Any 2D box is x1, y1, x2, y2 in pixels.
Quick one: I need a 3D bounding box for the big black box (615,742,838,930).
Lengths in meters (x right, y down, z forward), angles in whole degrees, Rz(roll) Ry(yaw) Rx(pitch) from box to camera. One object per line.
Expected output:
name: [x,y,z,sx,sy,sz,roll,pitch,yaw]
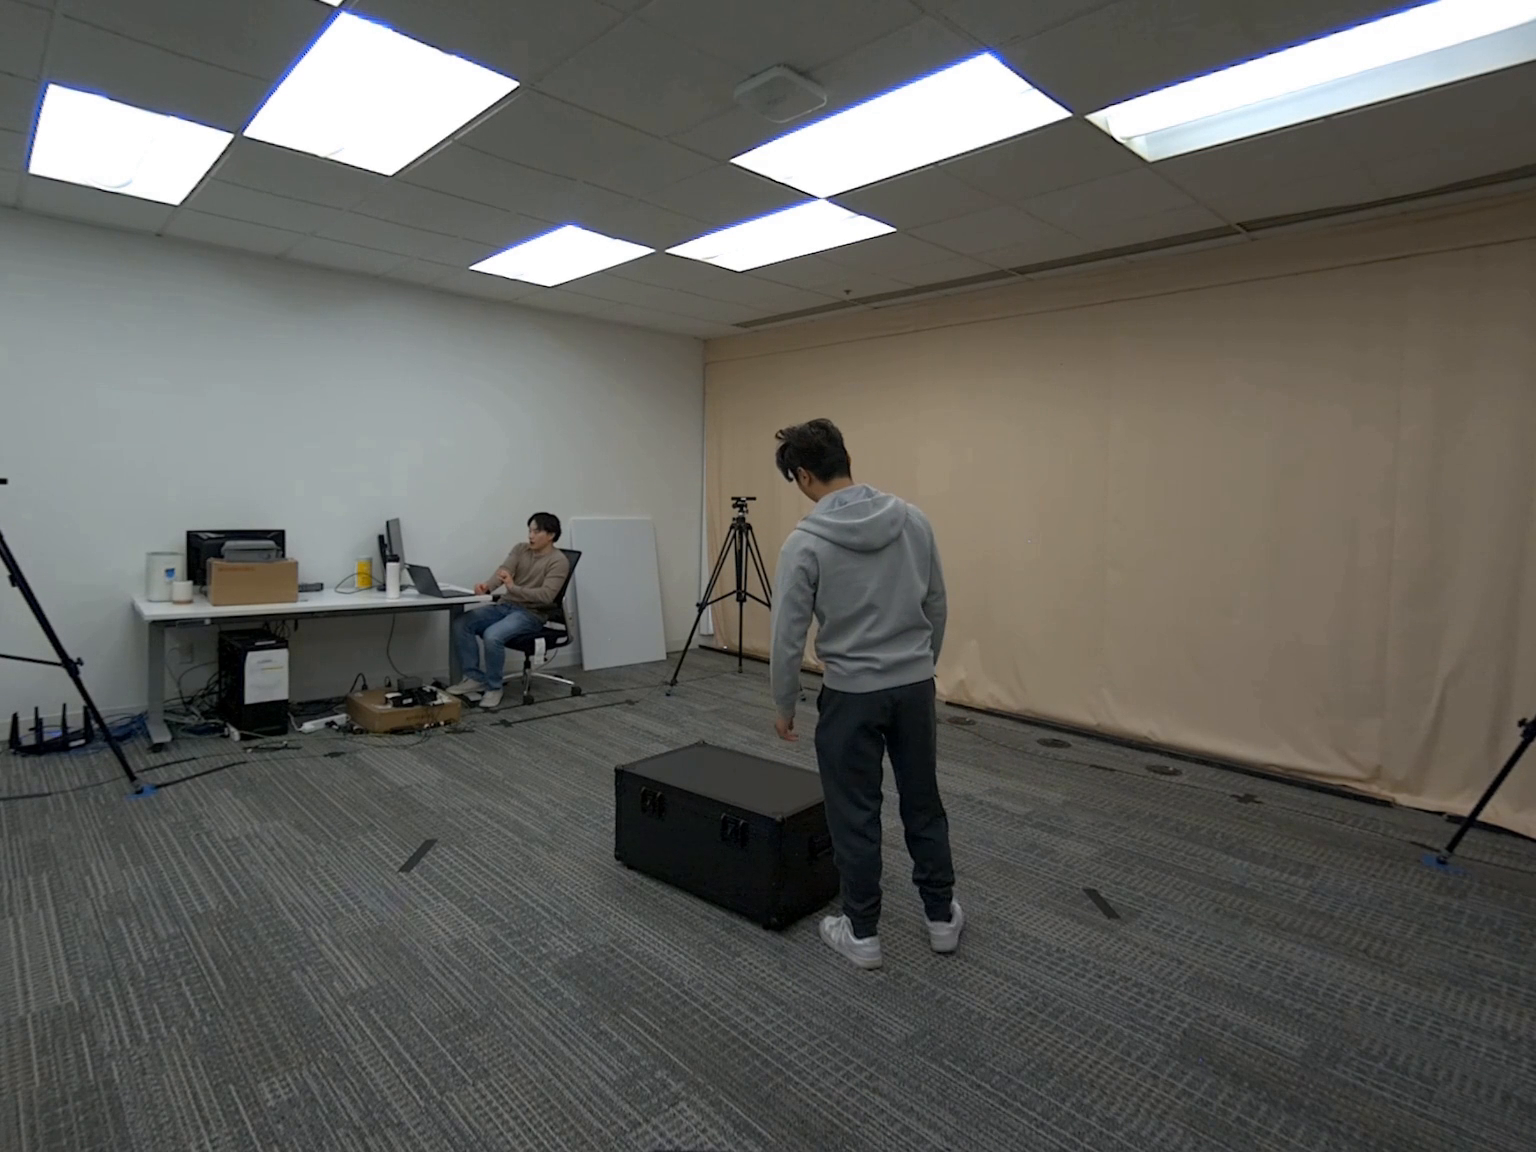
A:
big black box: [-0.154,0.915,3.125,0.883,0.395,0.510,6,6,39]
